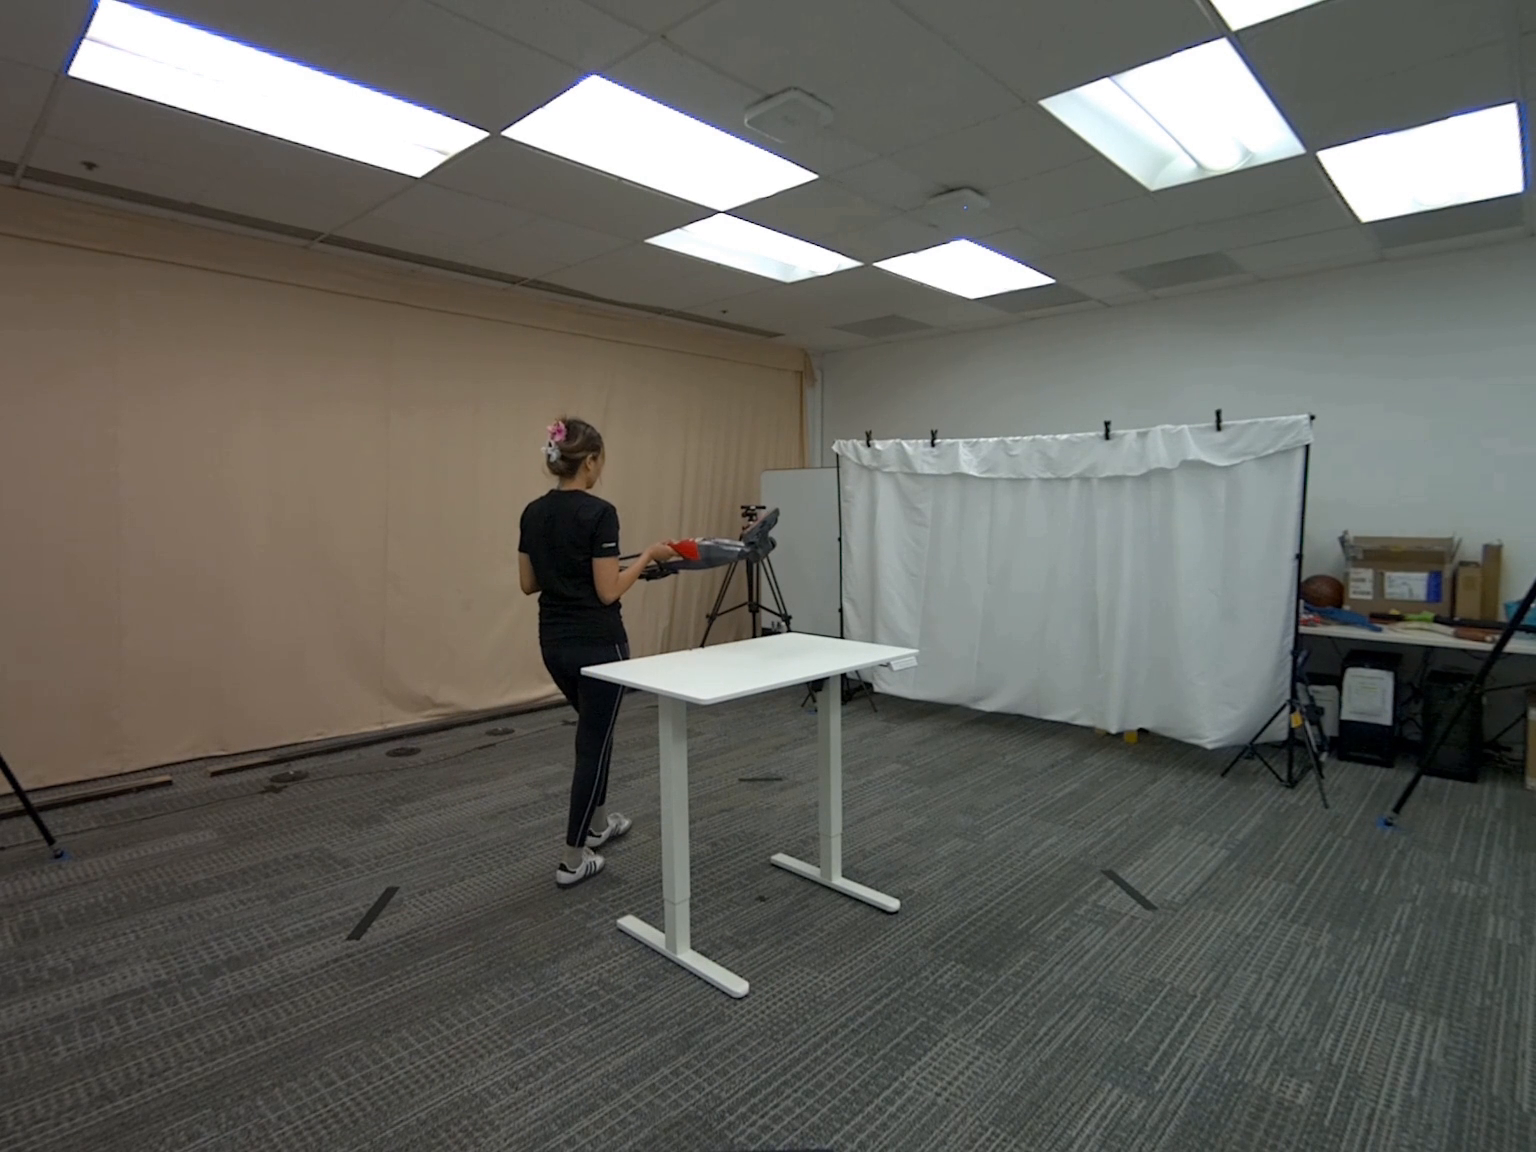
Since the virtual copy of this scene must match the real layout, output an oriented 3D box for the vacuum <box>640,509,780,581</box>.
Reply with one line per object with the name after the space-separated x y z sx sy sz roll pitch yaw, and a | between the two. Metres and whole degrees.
-0.430 -0.057 3.283 1.076 0.142 0.249 -11 16 34 | vacuum
